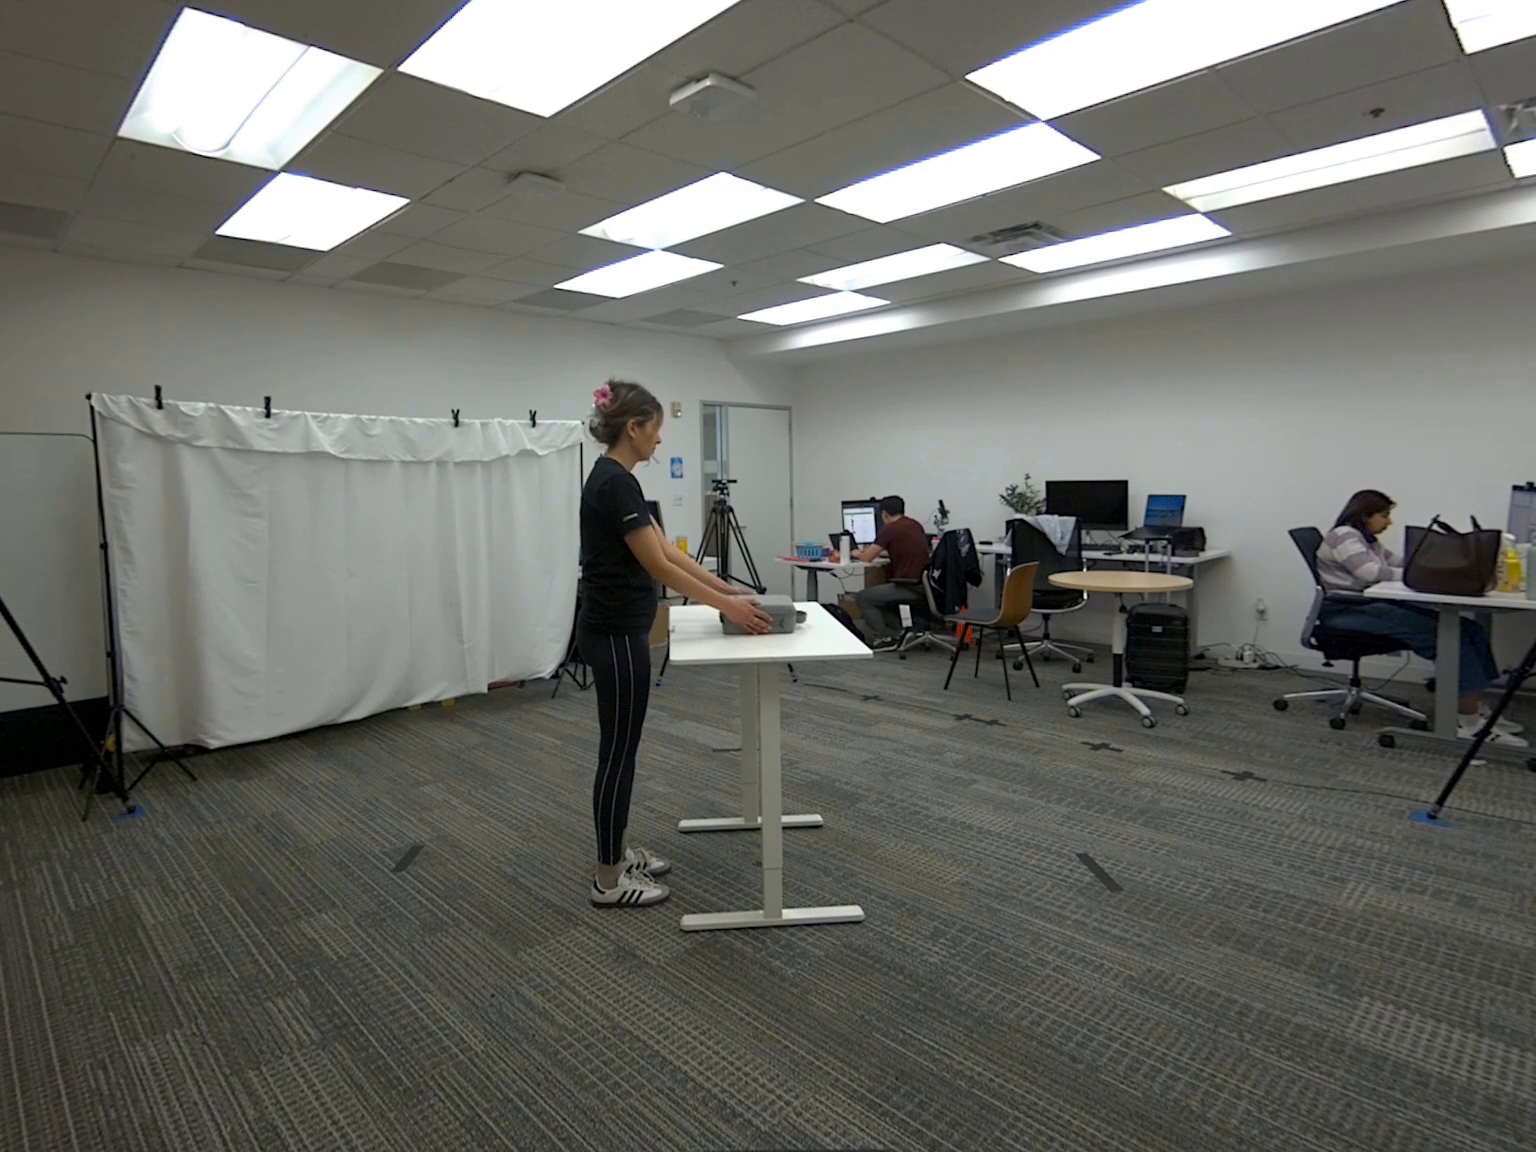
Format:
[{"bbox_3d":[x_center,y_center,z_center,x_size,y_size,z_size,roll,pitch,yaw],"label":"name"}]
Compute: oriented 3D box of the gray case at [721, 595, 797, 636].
[{"bbox_3d":[-0.033,0.129,2.964,0.260,0.104,0.258,0,5,-2],"label":"gray case"}]
